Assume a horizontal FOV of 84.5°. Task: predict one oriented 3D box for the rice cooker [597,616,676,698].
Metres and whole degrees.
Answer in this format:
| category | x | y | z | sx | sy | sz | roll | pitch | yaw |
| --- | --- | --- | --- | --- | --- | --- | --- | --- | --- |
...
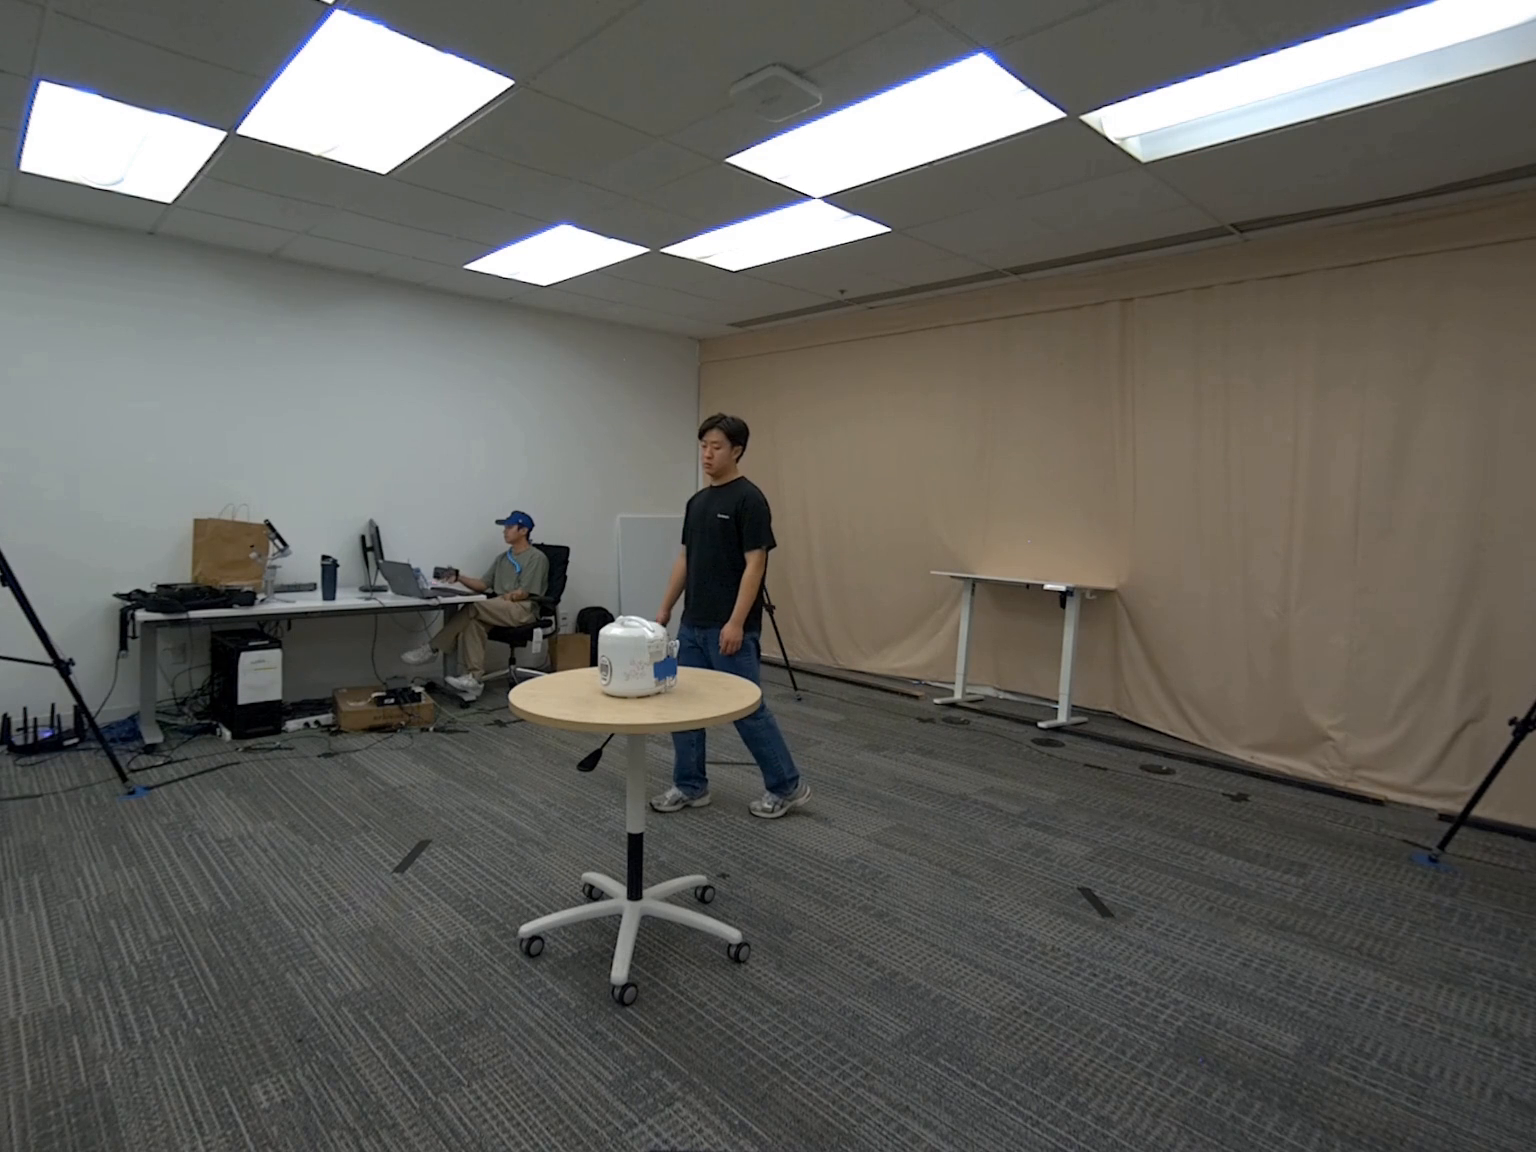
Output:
| category | x | y | z | sx | sy | sz | roll | pitch | yaw |
| --- | --- | --- | --- | --- | --- | --- | --- | --- | --- |
| rice cooker | -0.423 | 0.242 | 2.556 | 0.226 | 0.232 | 0.212 | 5 | 4 | 43 |
